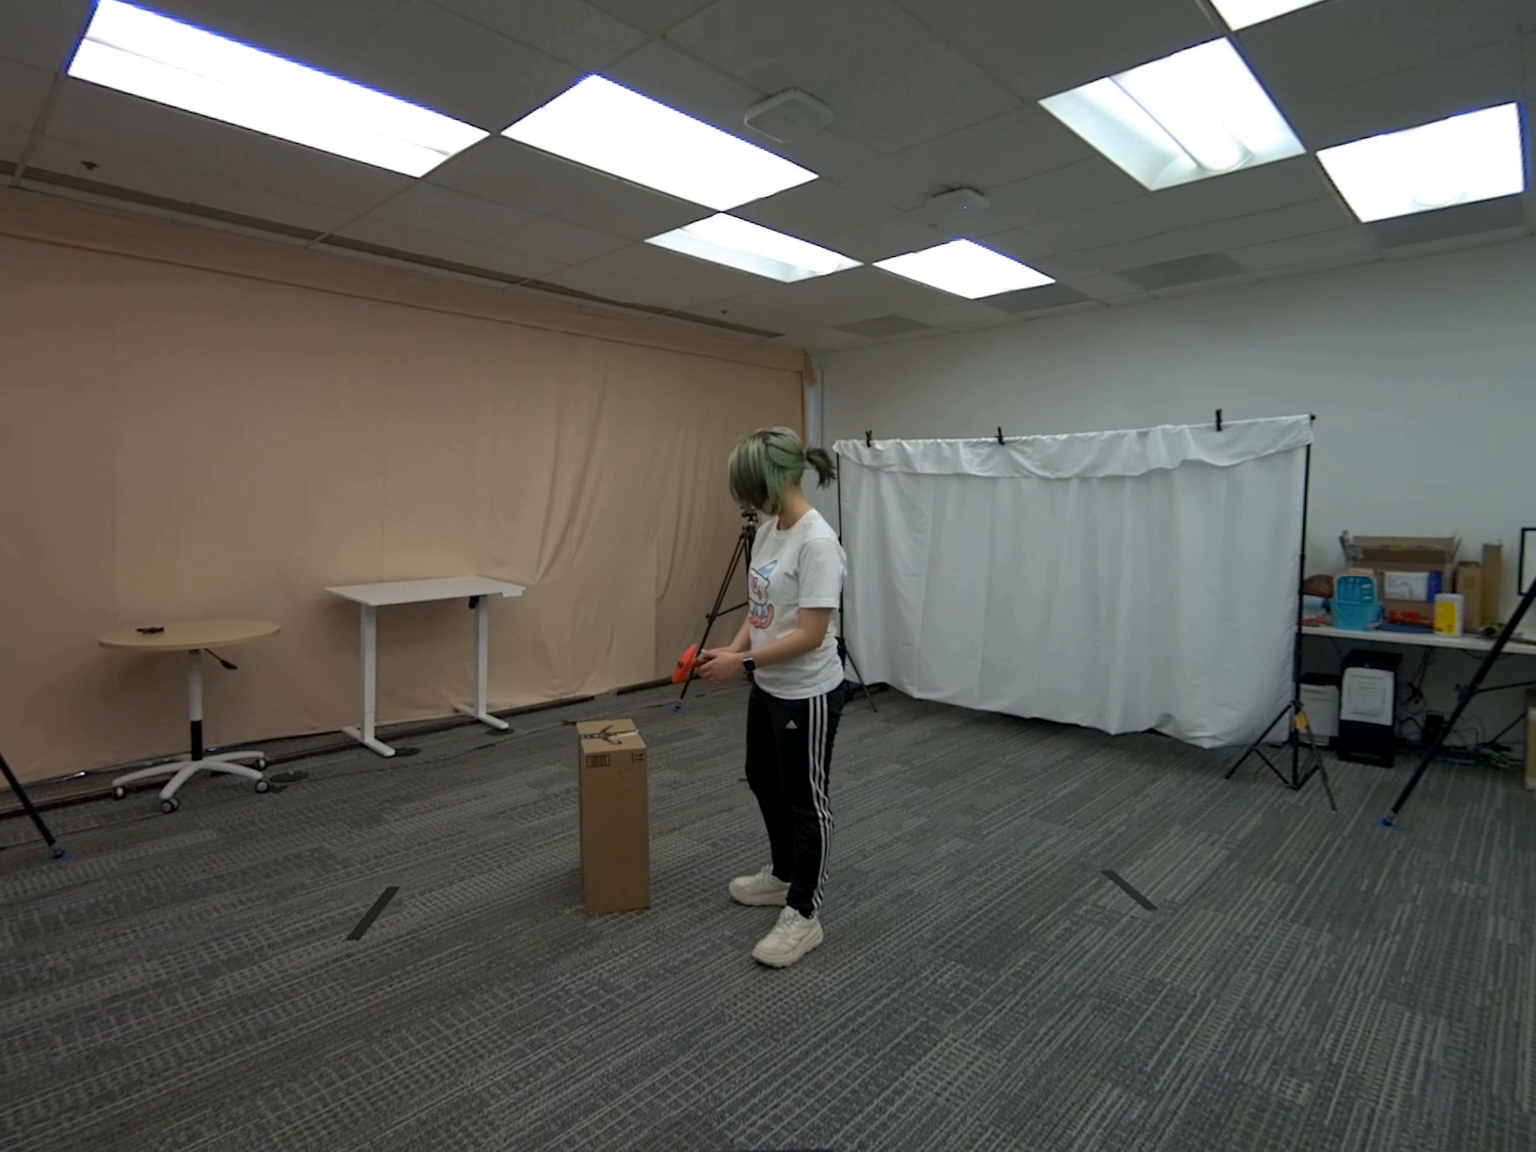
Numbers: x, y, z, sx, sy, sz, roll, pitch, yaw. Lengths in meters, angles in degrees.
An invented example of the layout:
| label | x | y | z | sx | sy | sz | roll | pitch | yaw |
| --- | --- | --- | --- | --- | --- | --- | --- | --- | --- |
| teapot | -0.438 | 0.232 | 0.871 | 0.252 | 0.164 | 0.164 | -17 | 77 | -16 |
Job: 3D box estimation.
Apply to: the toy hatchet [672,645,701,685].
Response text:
| label | x | y | z | sx | sy | sz | roll | pitch | yaw |
| --- | --- | --- | --- | --- | --- | --- | --- | --- | --- |
| toy hatchet | -0.210 | 0.301 | 2.594 | 0.030 | 0.131 | 0.261 | 35 | -7 | 30 |
